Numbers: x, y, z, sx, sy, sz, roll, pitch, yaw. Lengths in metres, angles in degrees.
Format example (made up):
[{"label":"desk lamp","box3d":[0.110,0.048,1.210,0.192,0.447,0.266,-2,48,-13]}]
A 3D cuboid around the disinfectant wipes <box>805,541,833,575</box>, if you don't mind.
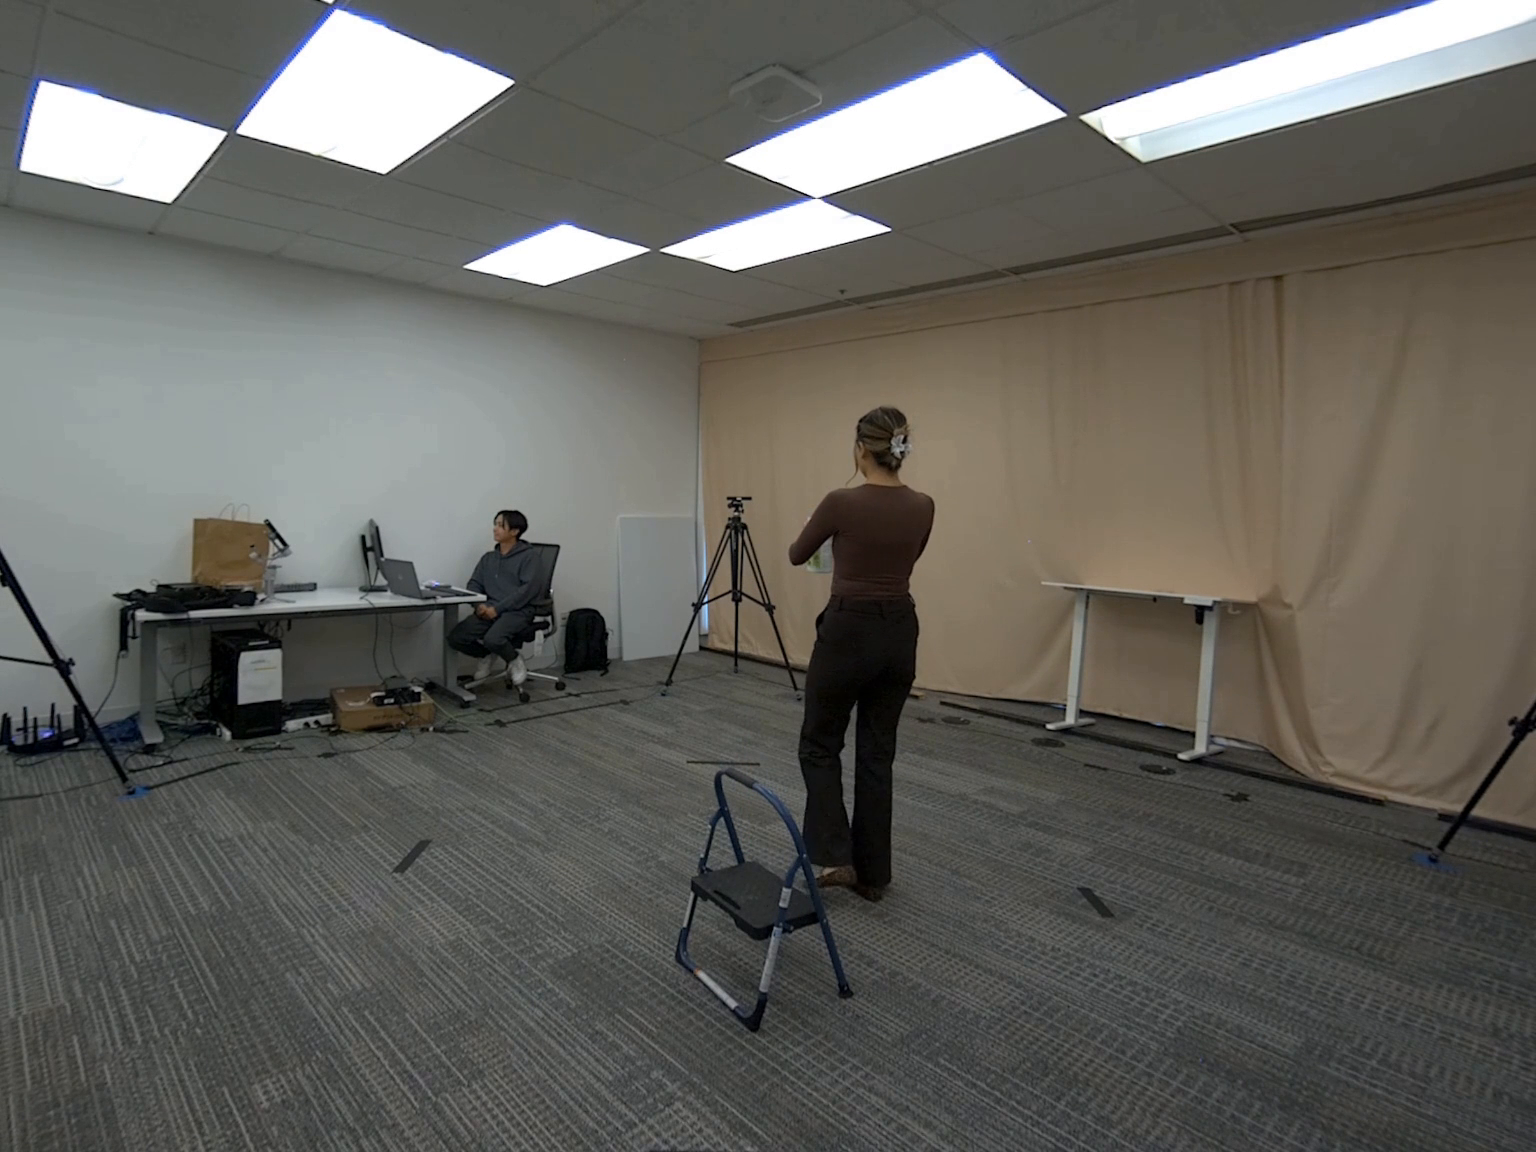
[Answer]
[{"label":"disinfectant wipes","box3d":[0.204,-0.119,3.364,0.118,0.216,0.118,0,9,-1]}]
